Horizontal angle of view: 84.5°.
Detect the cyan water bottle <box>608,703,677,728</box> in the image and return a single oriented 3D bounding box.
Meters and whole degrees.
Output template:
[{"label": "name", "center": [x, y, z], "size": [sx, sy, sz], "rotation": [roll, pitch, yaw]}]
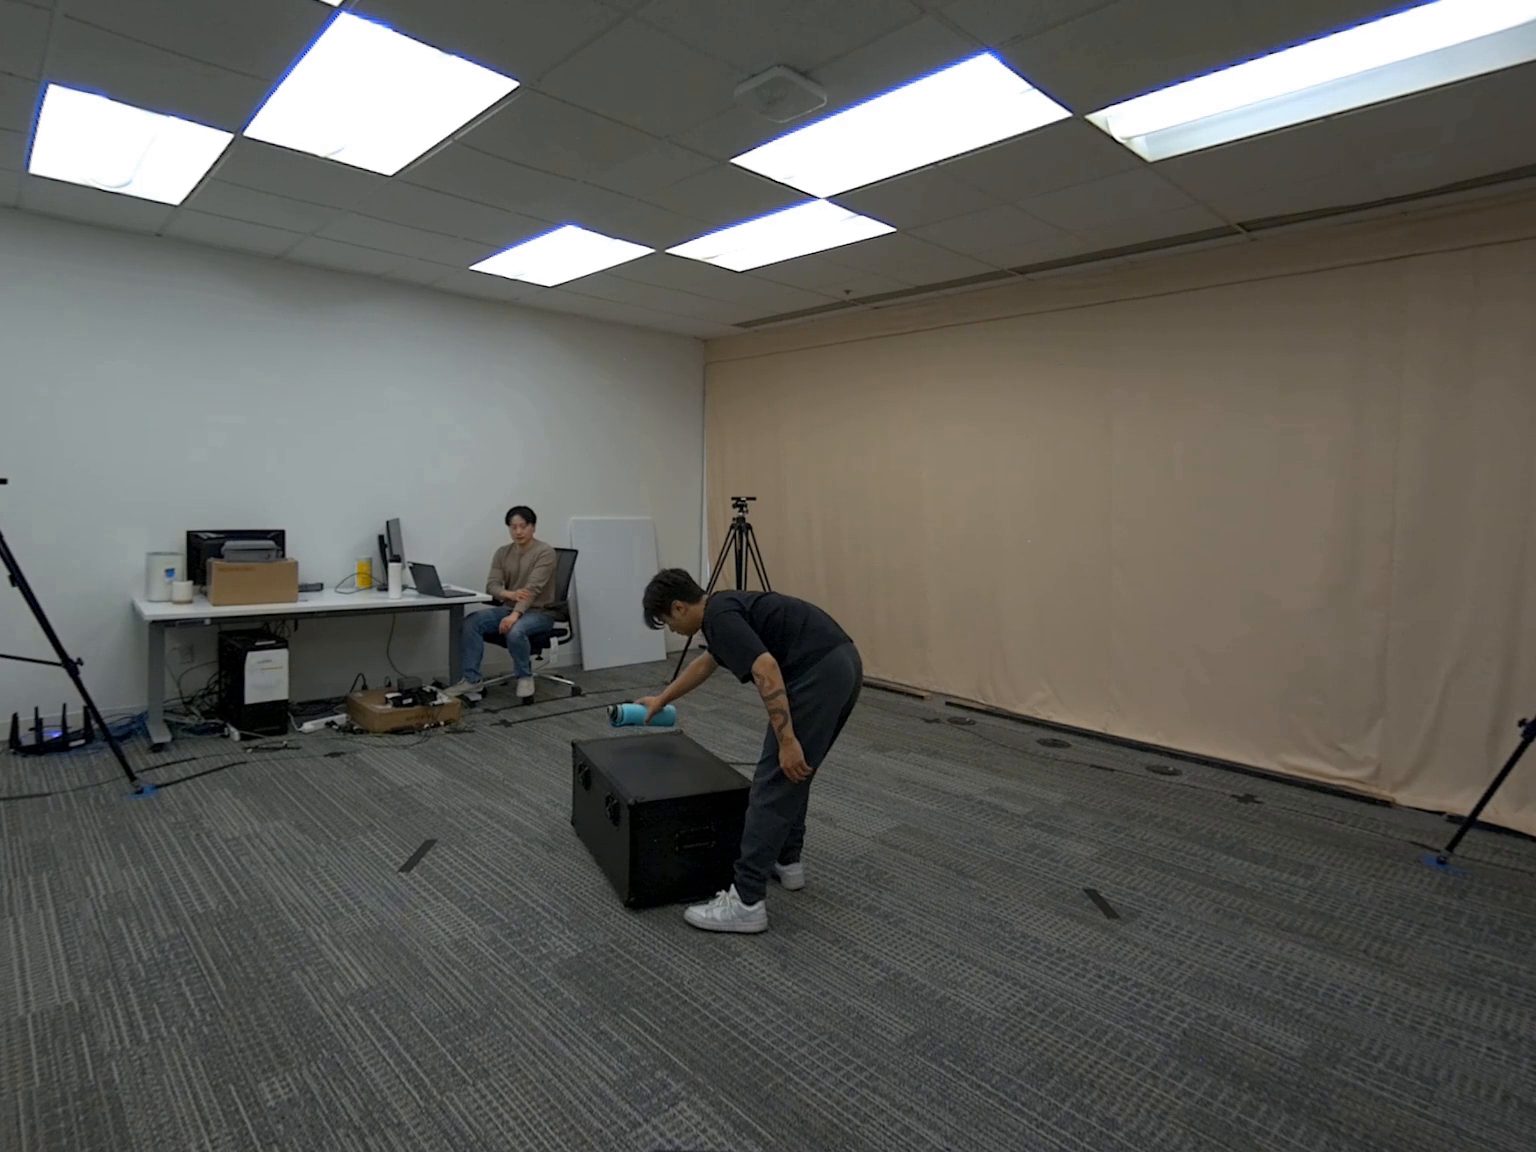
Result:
[{"label": "cyan water bottle", "center": [-0.523, 0.577, 3.462], "size": [0.278, 0.092, 0.094], "rotation": [6, 2, -24]}]
